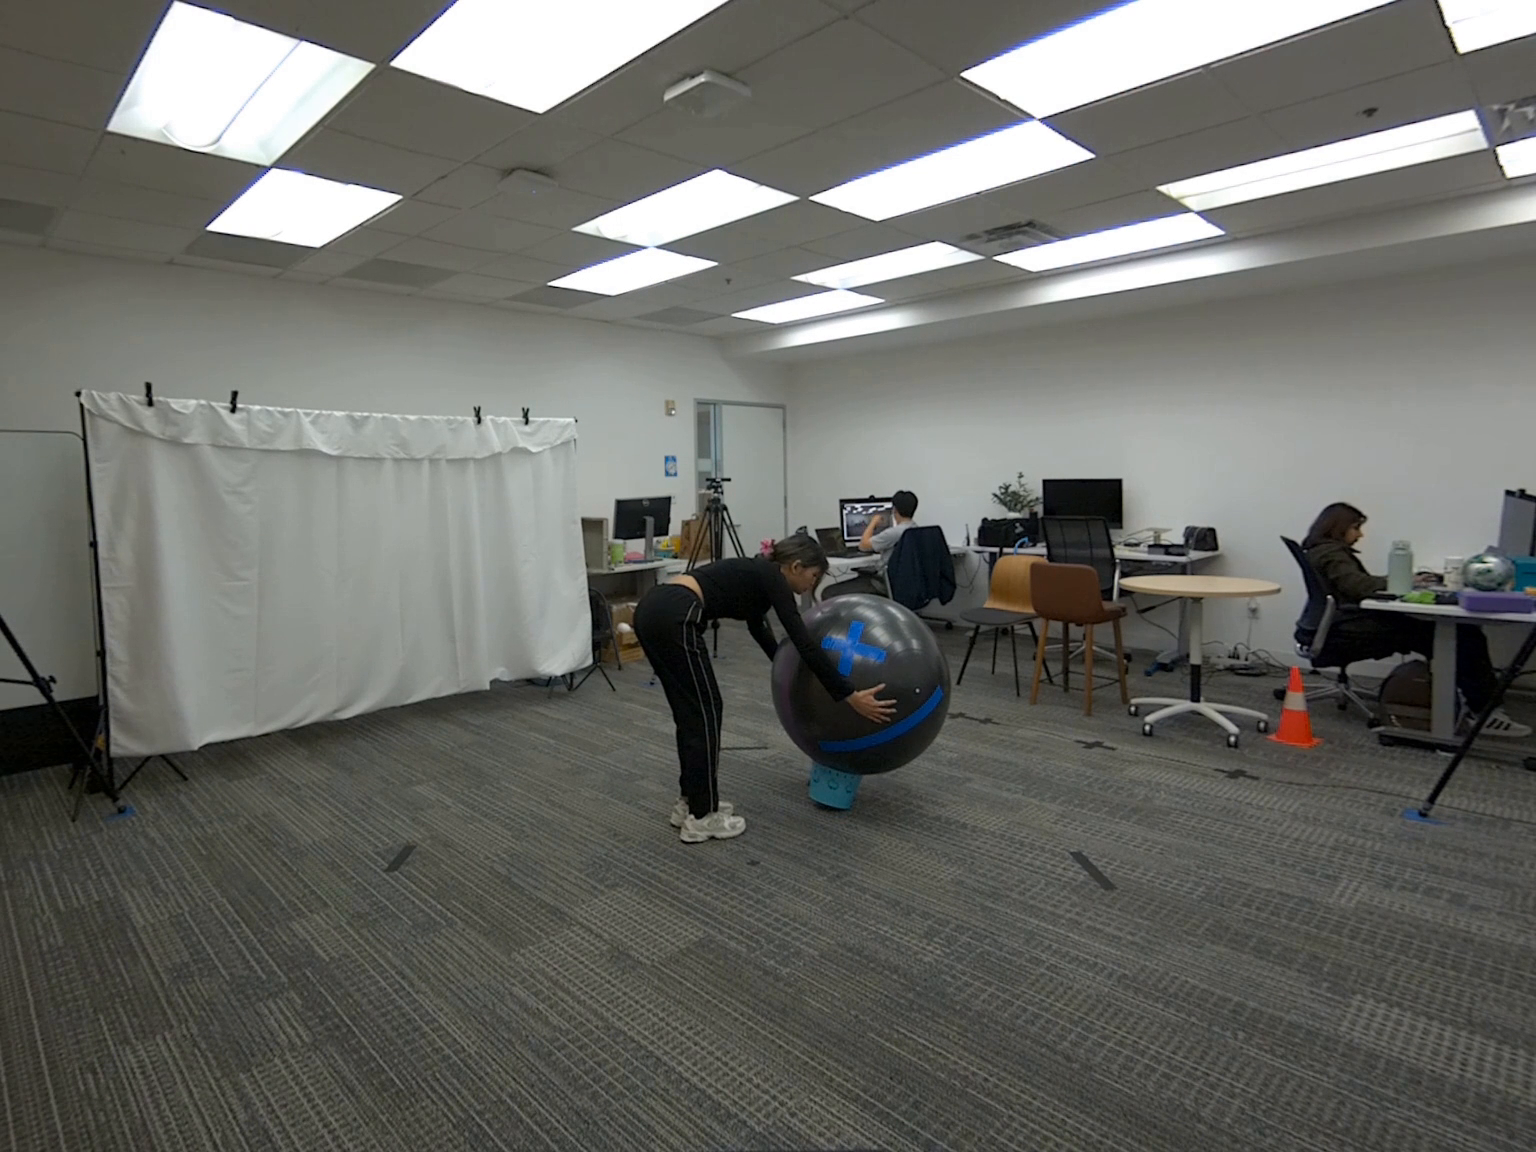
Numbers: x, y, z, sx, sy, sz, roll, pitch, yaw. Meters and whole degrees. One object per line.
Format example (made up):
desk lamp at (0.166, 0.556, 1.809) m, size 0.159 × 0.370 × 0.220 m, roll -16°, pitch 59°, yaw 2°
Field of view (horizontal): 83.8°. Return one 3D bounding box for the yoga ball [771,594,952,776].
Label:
yoga ball at (0.390, 0.461, 3.660) m, size 0.757 × 0.755 × 0.762 m, roll -1°, pitch 5°, yaw -2°
